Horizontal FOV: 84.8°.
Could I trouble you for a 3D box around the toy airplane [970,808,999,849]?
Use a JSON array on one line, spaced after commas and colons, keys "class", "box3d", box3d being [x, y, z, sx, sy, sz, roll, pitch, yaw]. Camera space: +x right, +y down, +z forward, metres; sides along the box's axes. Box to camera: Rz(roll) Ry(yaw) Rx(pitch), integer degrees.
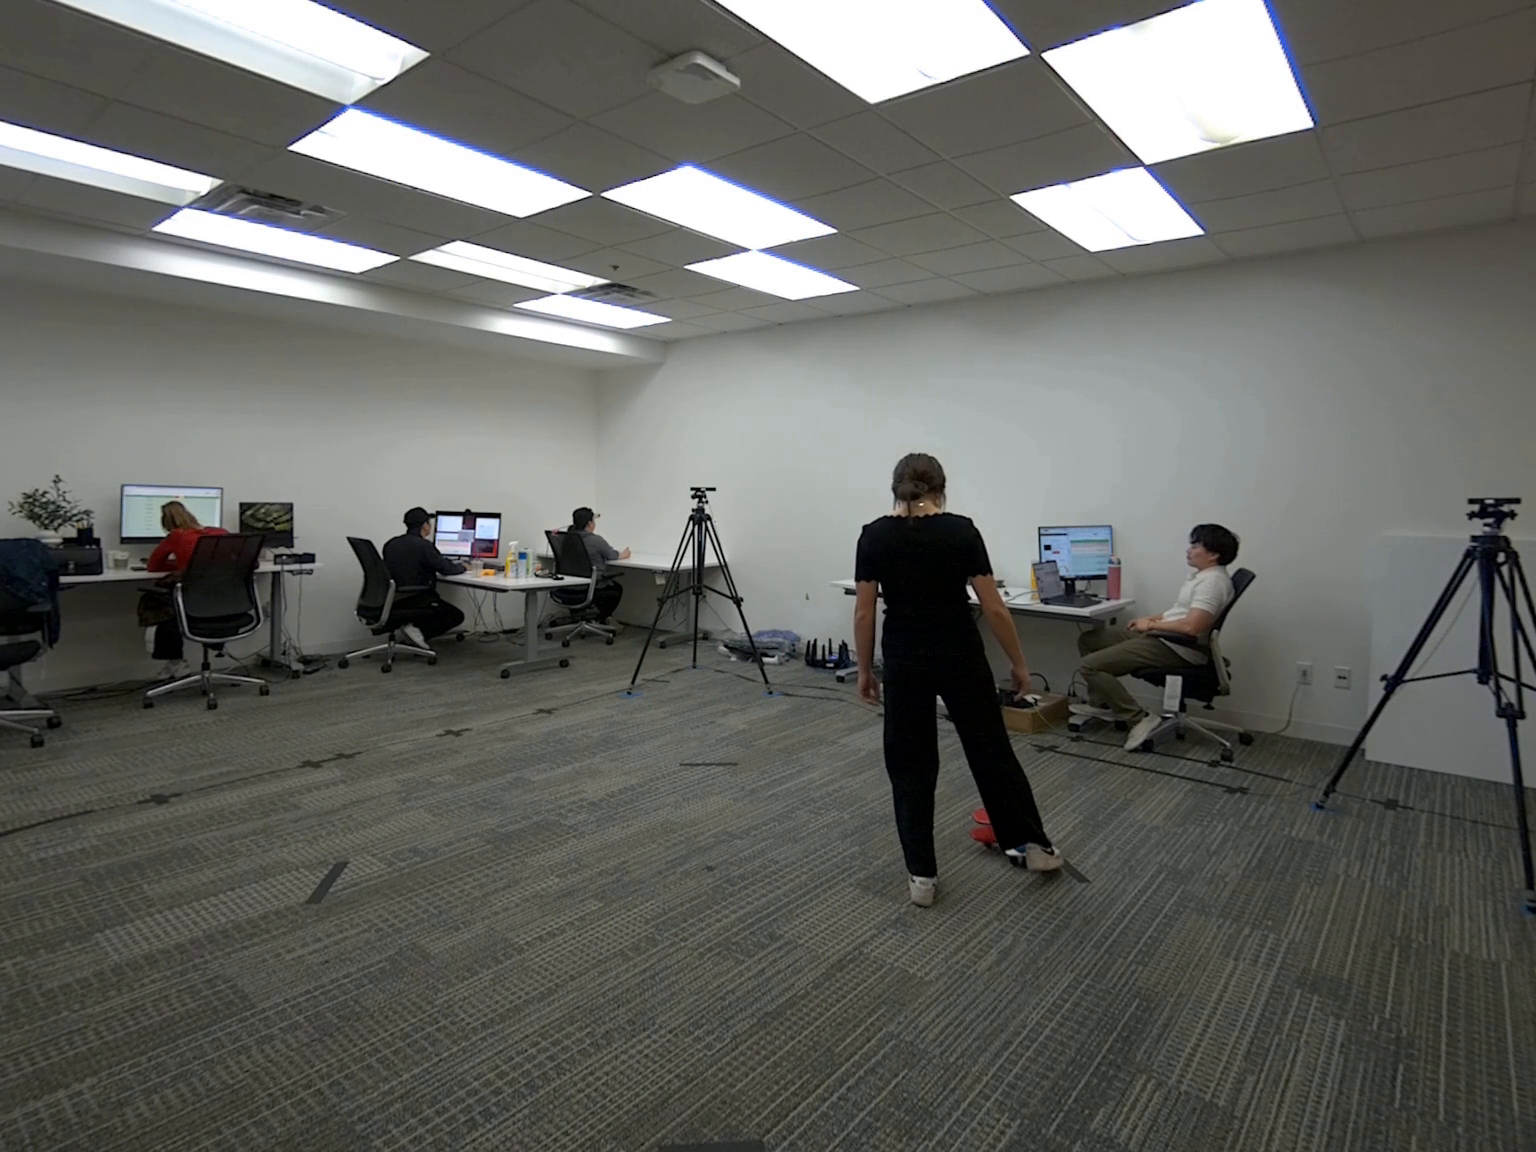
[{"class": "toy airplane", "box3d": [0.935, 0.994, 3.292, 0.244, 0.156, 0.268, -3, 6, -39]}]
